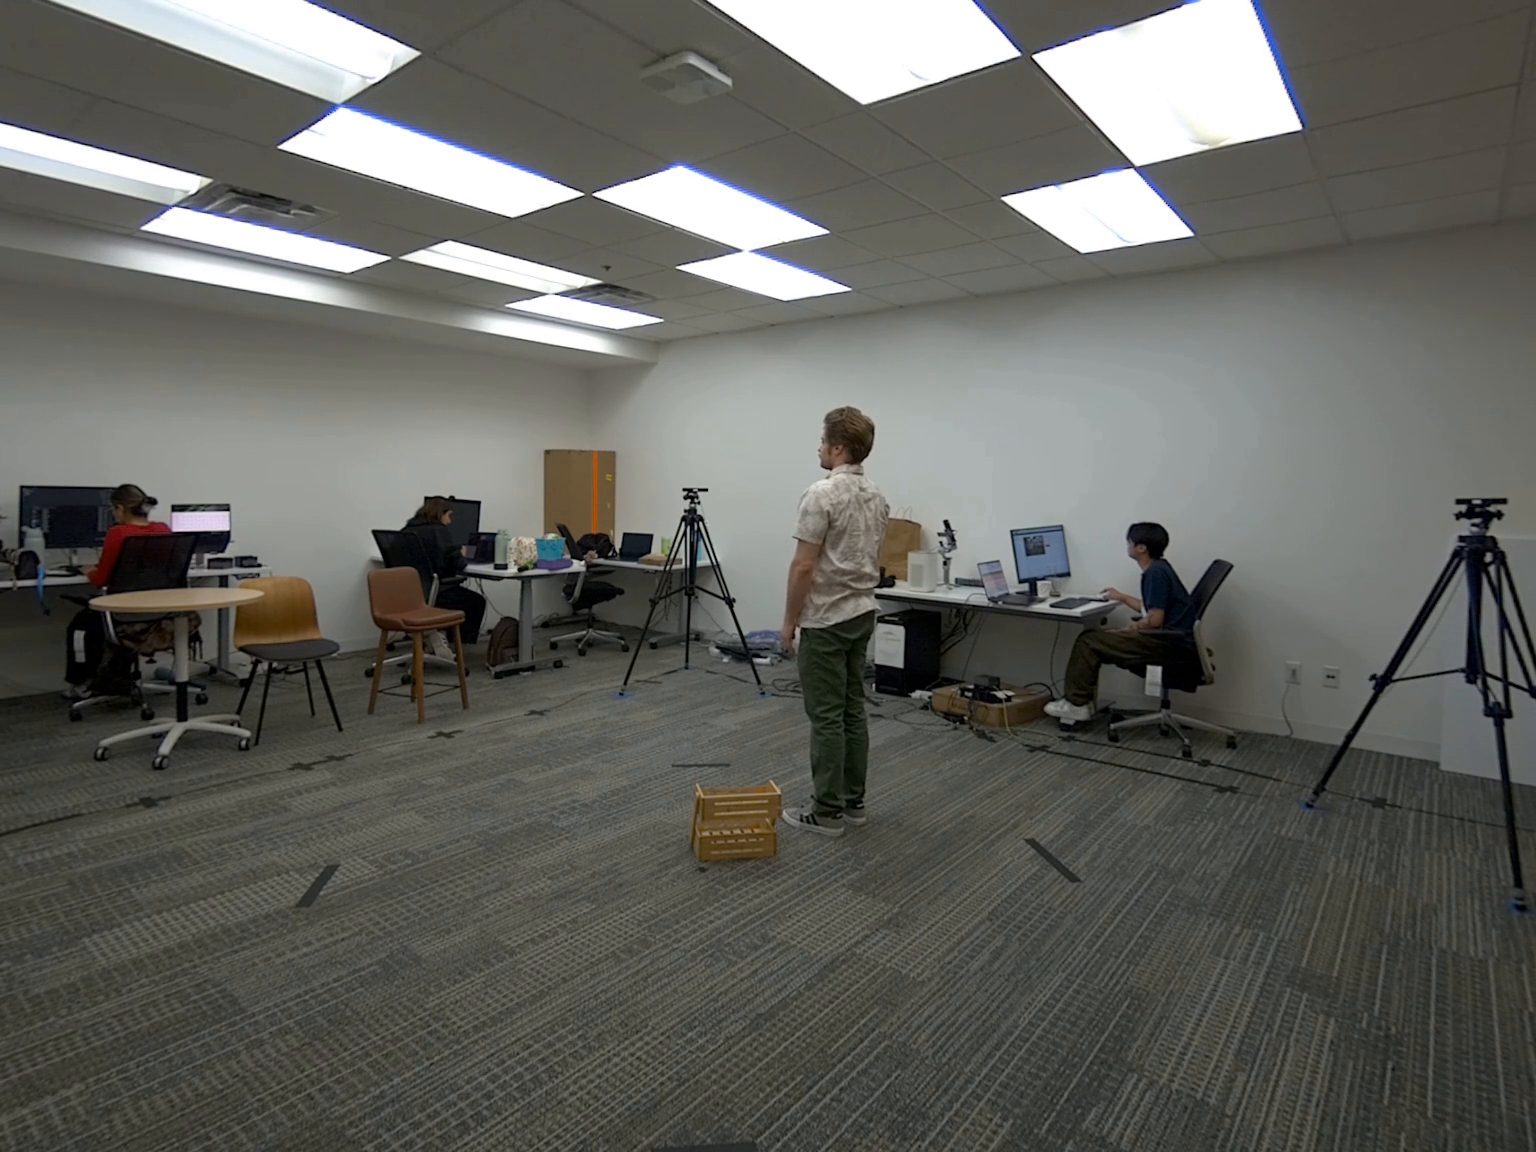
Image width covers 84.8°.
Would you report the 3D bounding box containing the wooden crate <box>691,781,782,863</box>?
[{"bbox_3d":[-0.142,0.919,3.305,0.320,0.272,0.307,0,4,-13],"label":"wooden crate"}]
